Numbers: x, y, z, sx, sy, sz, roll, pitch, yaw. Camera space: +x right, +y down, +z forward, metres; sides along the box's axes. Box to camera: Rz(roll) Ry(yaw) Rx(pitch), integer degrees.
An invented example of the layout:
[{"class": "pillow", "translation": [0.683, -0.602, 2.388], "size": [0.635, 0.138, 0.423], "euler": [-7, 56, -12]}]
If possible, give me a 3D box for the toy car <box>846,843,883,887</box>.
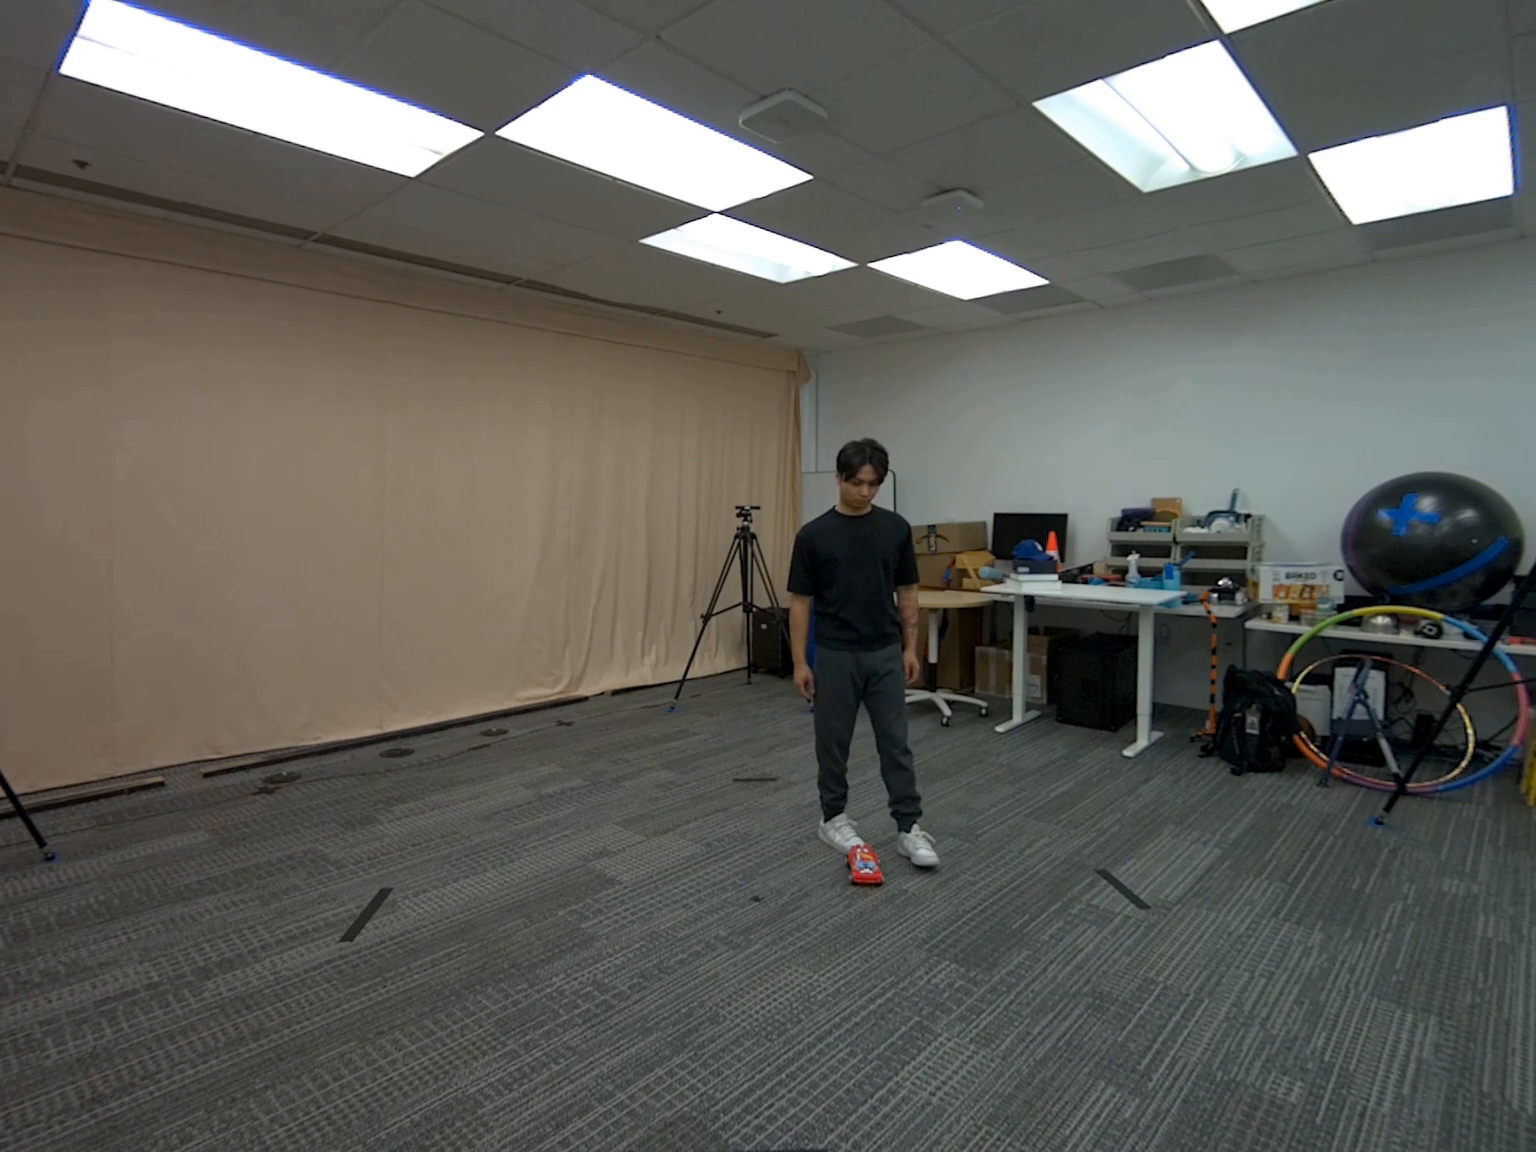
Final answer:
[{"class": "toy car", "translation": [0.367, 1.093, 3.188], "size": [0.130, 0.082, 0.256], "euler": [0, 16, 0]}]
